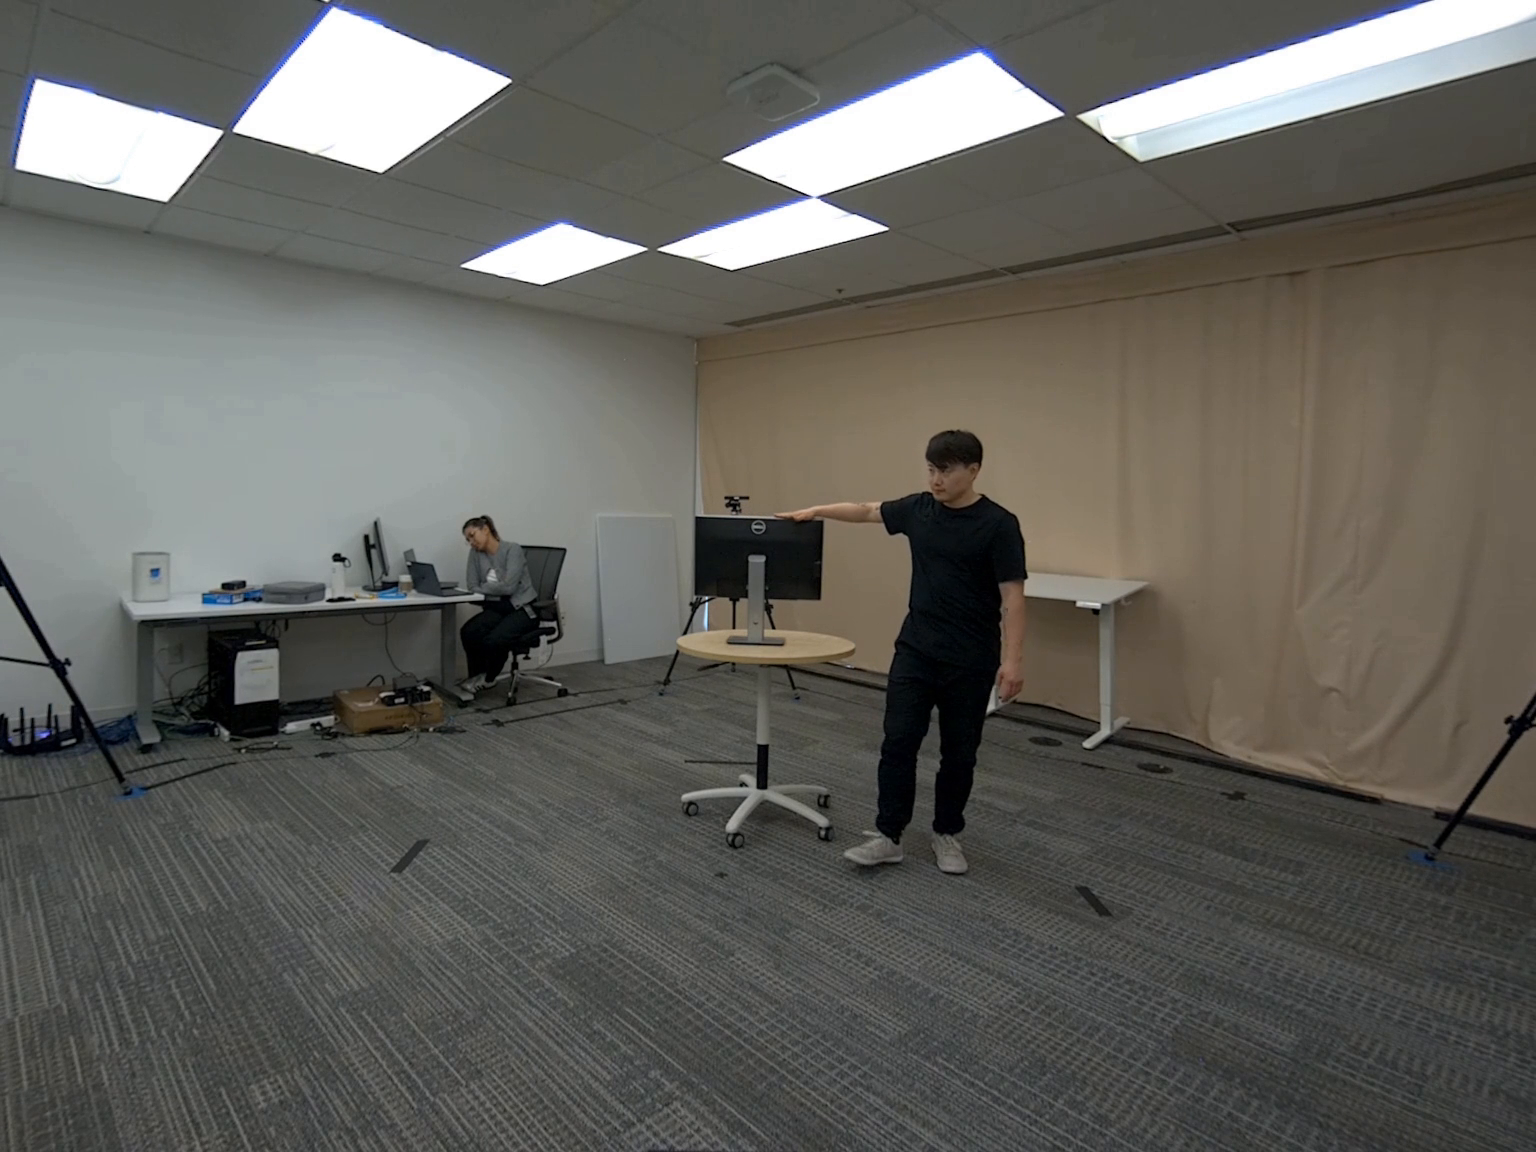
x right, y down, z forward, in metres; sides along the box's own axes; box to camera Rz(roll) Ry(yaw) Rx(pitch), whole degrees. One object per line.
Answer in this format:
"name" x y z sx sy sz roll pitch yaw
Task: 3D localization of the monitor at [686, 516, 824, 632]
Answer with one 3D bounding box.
"monitor" -0.052 0.020 3.610 0.540 0.522 0.187 2 1 3
